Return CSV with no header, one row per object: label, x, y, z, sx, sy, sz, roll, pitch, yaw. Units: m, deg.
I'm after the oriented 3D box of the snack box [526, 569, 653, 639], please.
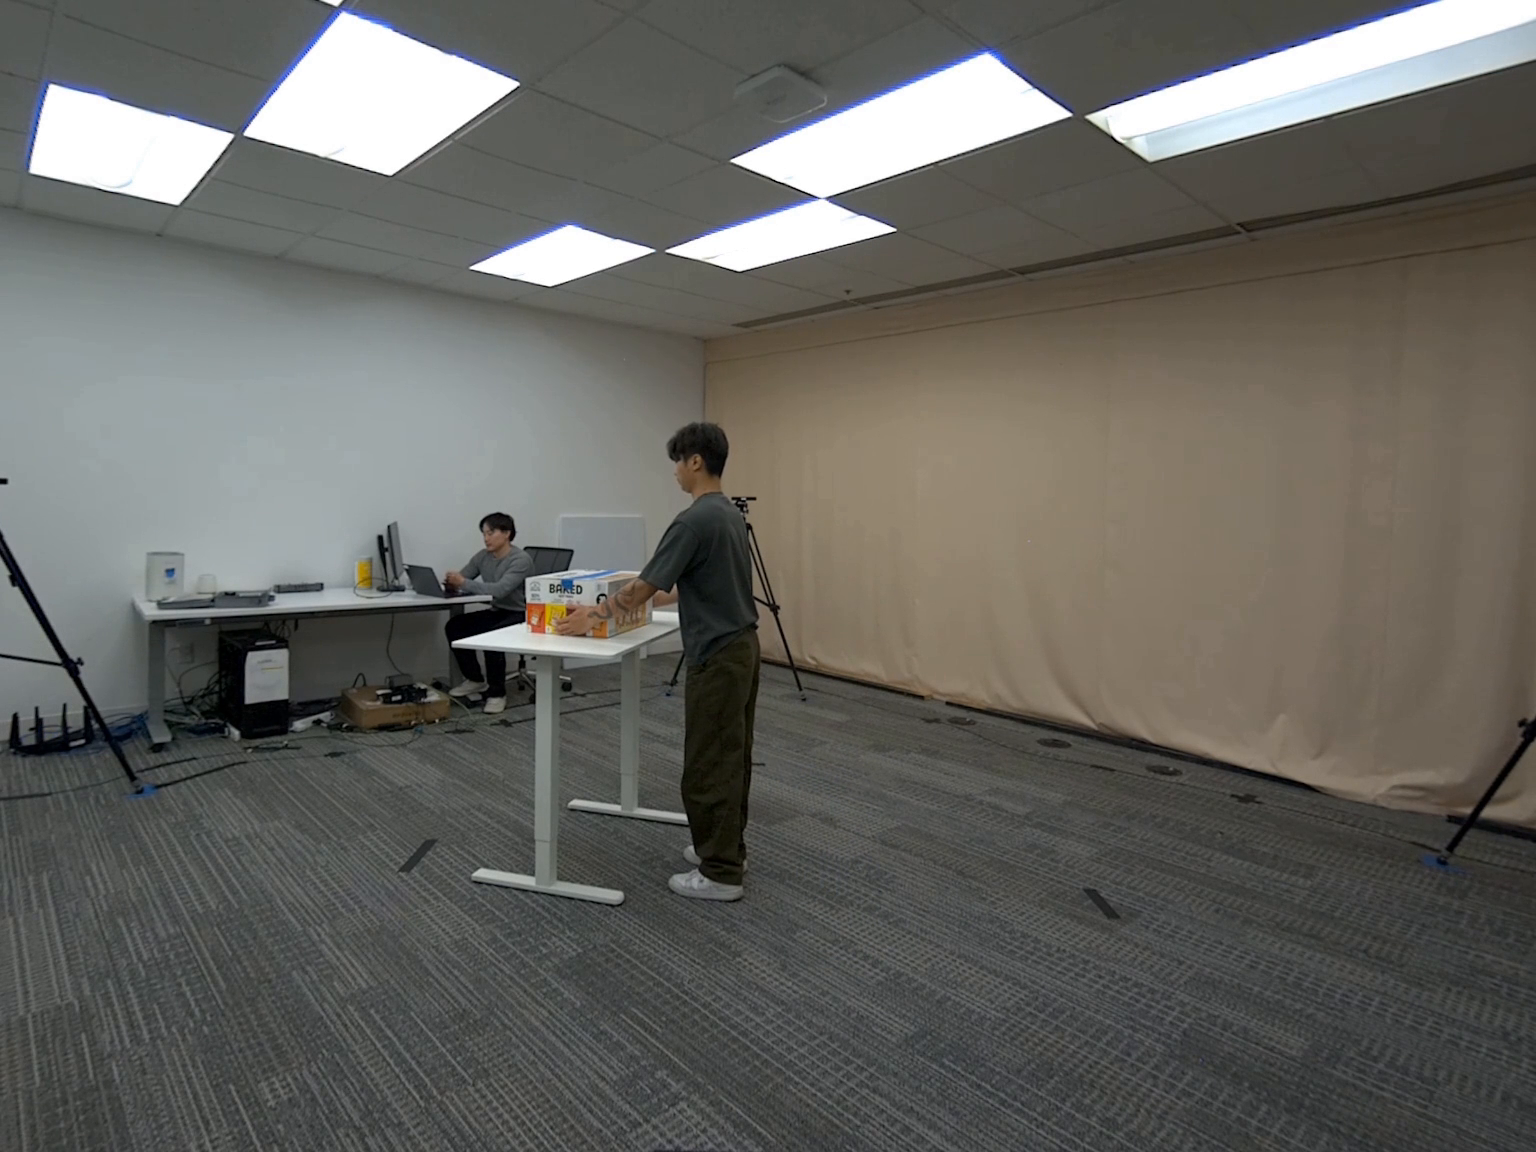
snack box,-0.683,0.097,3.248,0.345,0.205,0.400,3,5,17
